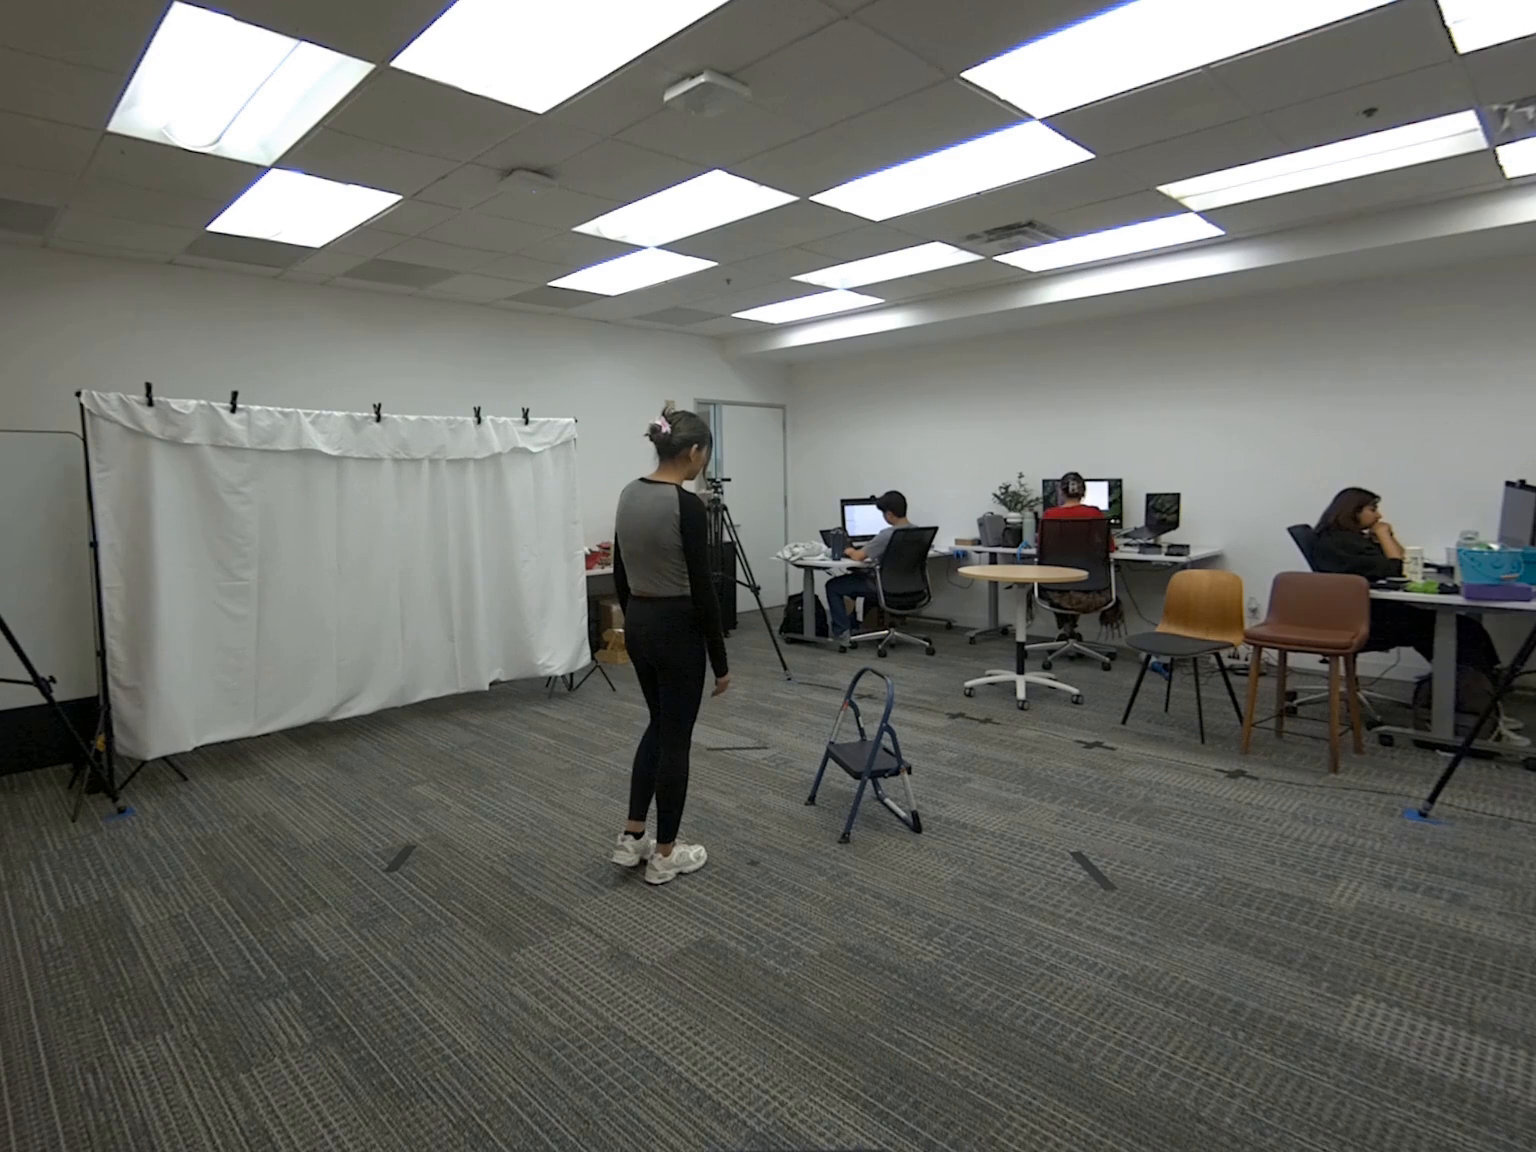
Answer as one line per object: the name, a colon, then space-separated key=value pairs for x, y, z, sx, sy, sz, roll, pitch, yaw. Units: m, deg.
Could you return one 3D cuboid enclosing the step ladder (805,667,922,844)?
step ladder: x=0.384 y=0.690 z=3.482 sx=0.344 sy=0.604 sz=0.438 roll=-2 pitch=4 yaw=-15
